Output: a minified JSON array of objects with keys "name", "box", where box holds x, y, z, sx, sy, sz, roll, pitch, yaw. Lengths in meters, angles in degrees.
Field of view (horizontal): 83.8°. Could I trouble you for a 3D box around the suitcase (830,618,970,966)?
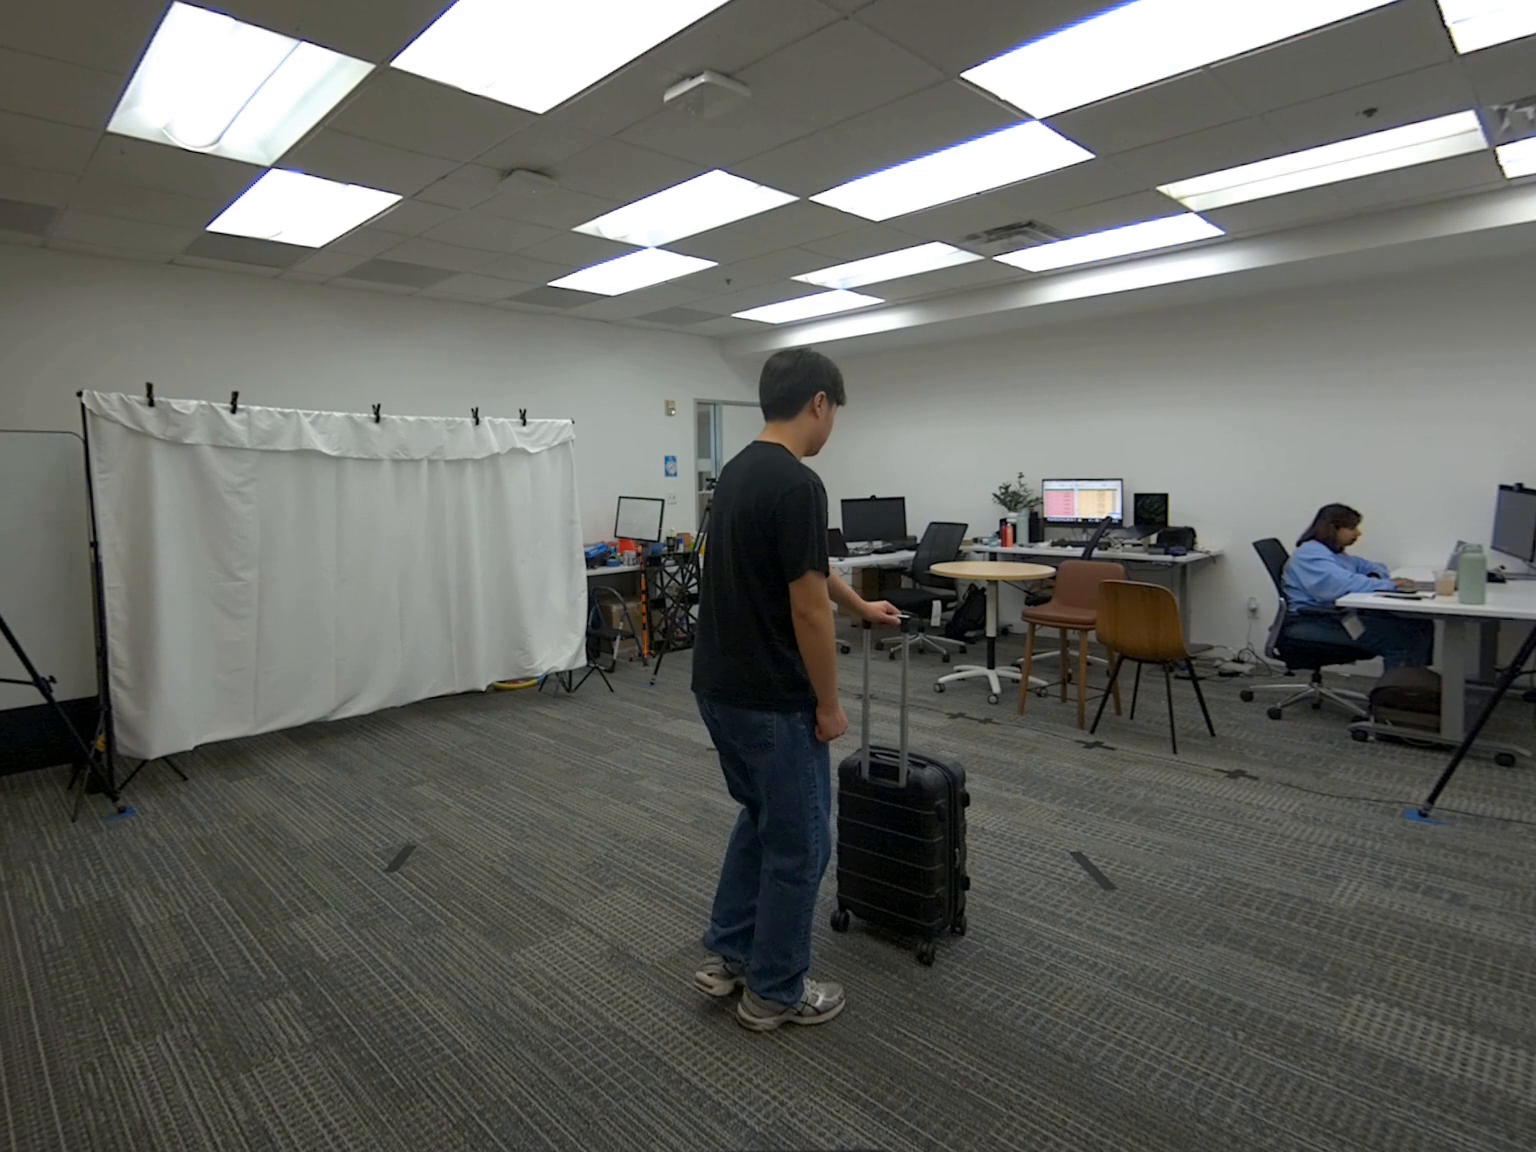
[{"name":"suitcase","box":[0.421,0.612,2.638,0.395,0.979,0.249,1,-1,40]}]
